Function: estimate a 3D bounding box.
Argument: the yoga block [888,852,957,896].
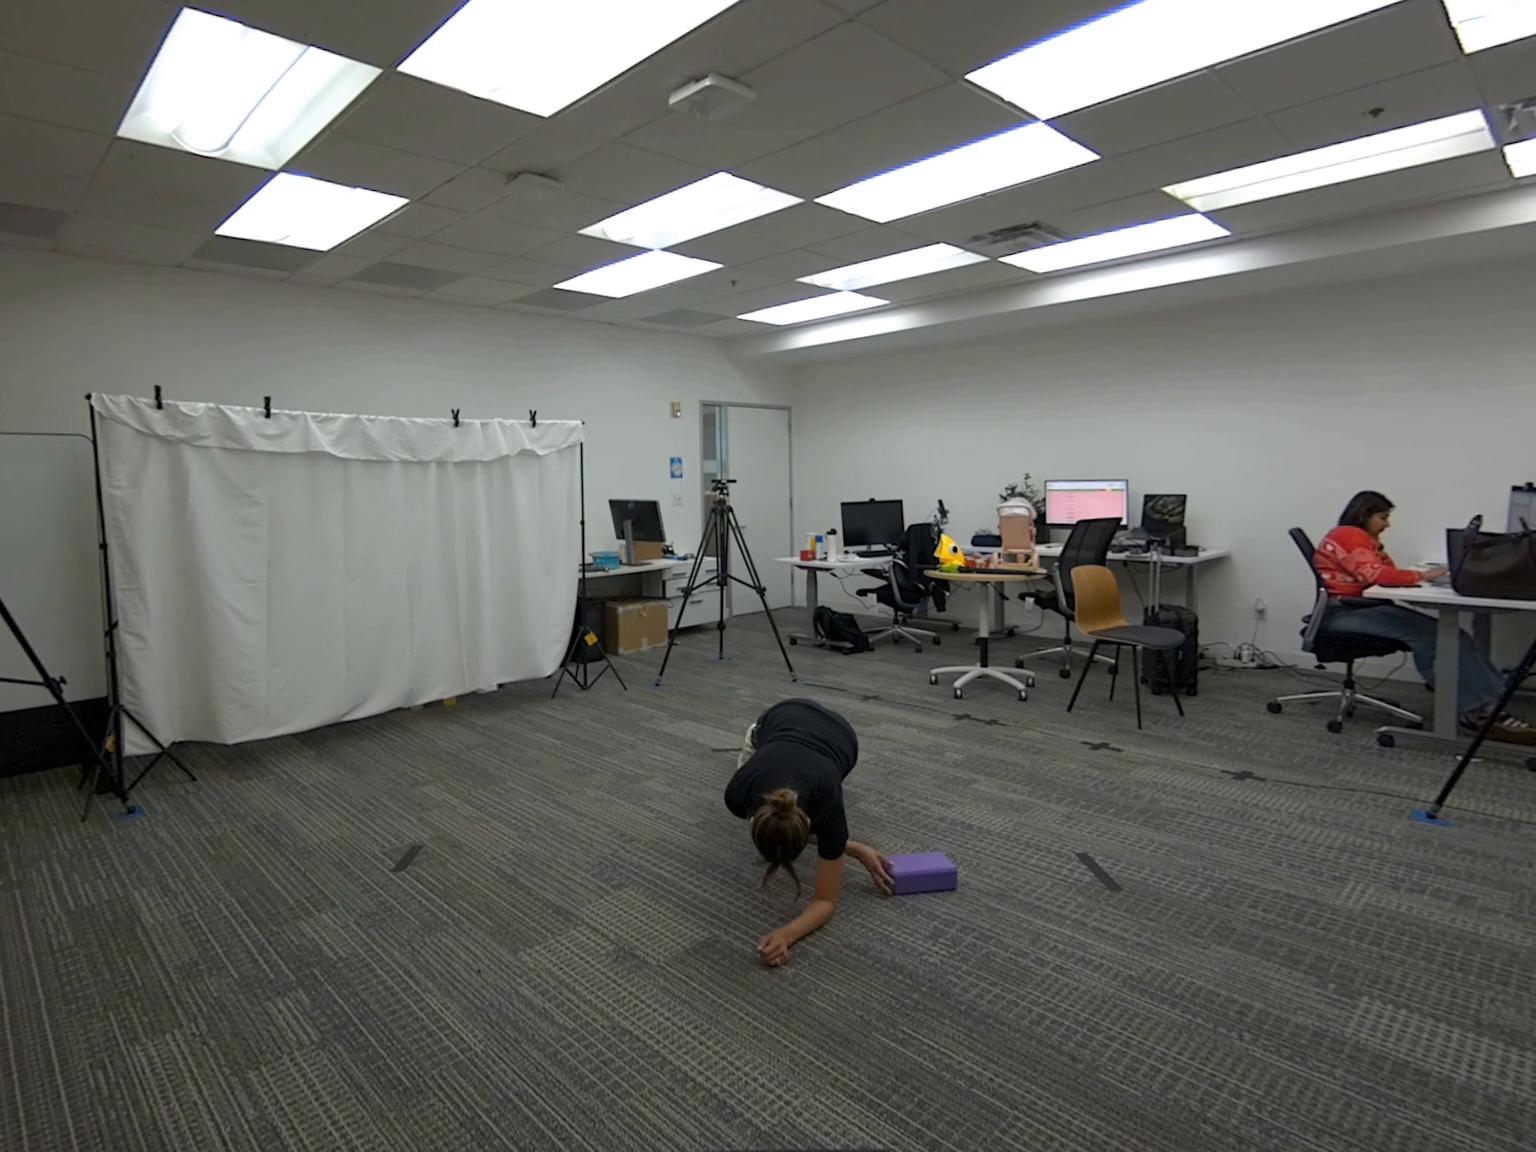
[{"bbox_3d":[0.512,1.015,2.928,0.227,0.076,0.151,-2,5,-9],"label":"yoga block"}]
